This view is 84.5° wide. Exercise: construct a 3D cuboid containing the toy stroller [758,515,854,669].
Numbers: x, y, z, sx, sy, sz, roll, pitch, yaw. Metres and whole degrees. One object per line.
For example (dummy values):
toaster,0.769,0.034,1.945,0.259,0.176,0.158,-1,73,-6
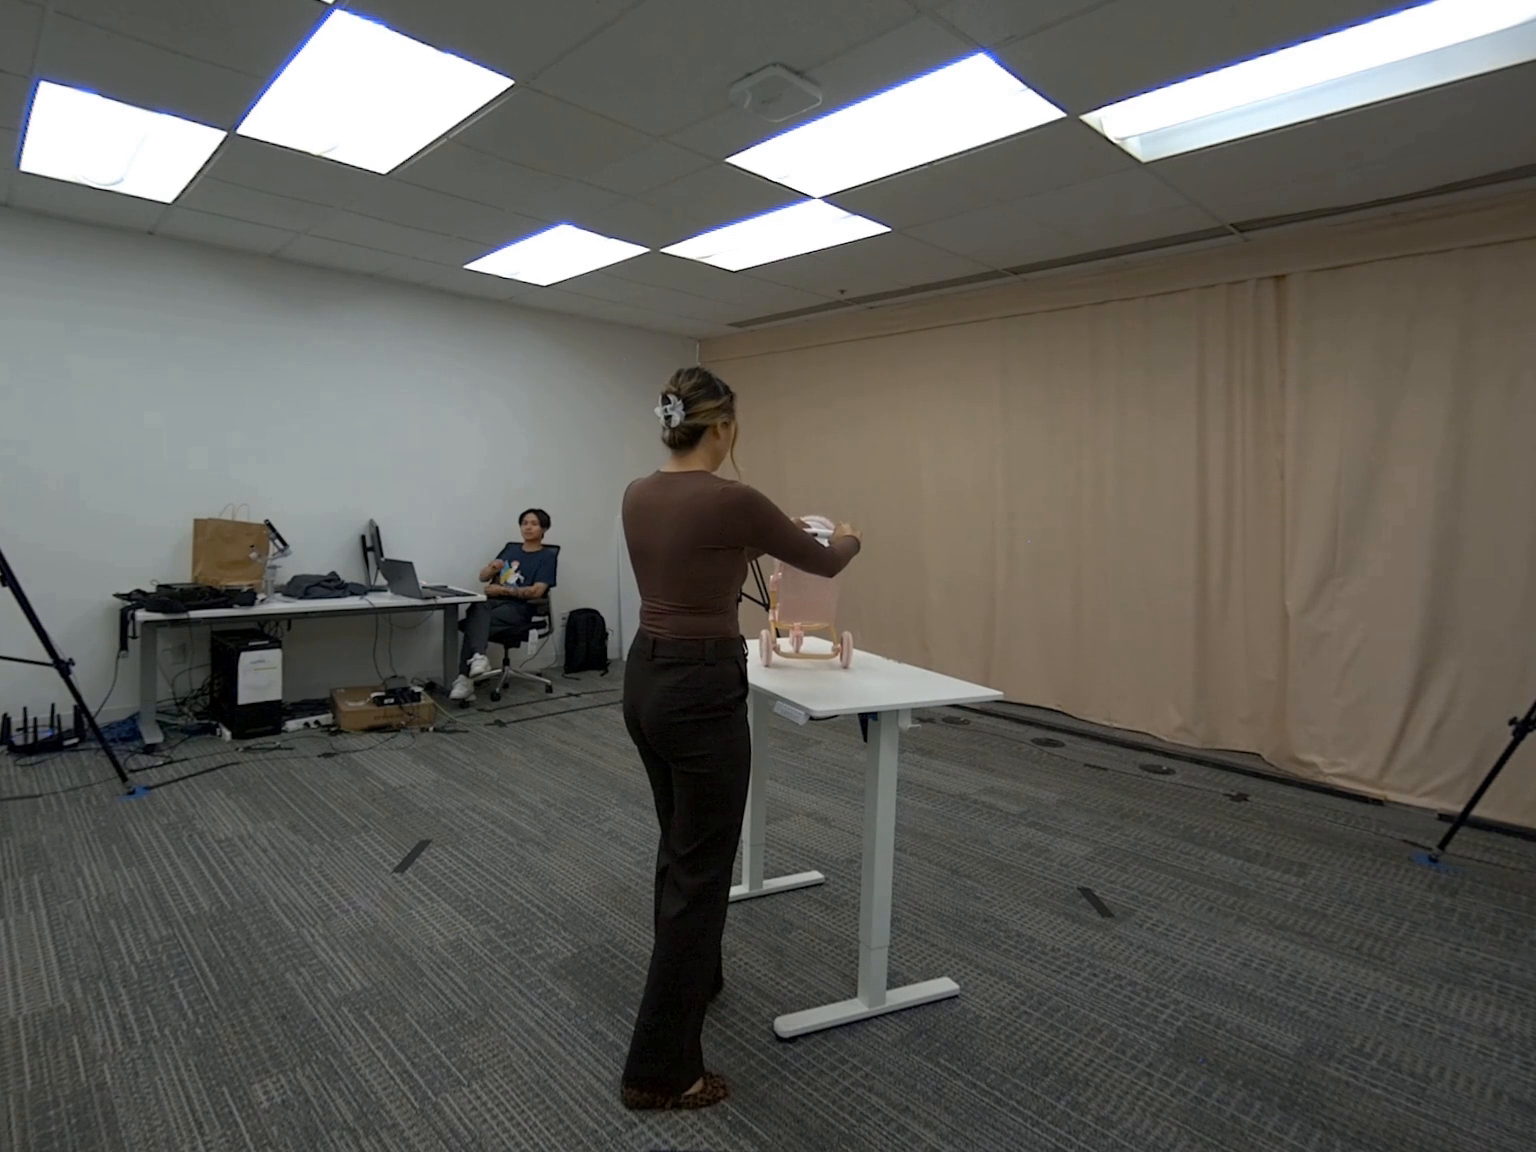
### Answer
toy stroller,0.119,0.055,2.625,0.281,0.528,0.345,3,18,0
